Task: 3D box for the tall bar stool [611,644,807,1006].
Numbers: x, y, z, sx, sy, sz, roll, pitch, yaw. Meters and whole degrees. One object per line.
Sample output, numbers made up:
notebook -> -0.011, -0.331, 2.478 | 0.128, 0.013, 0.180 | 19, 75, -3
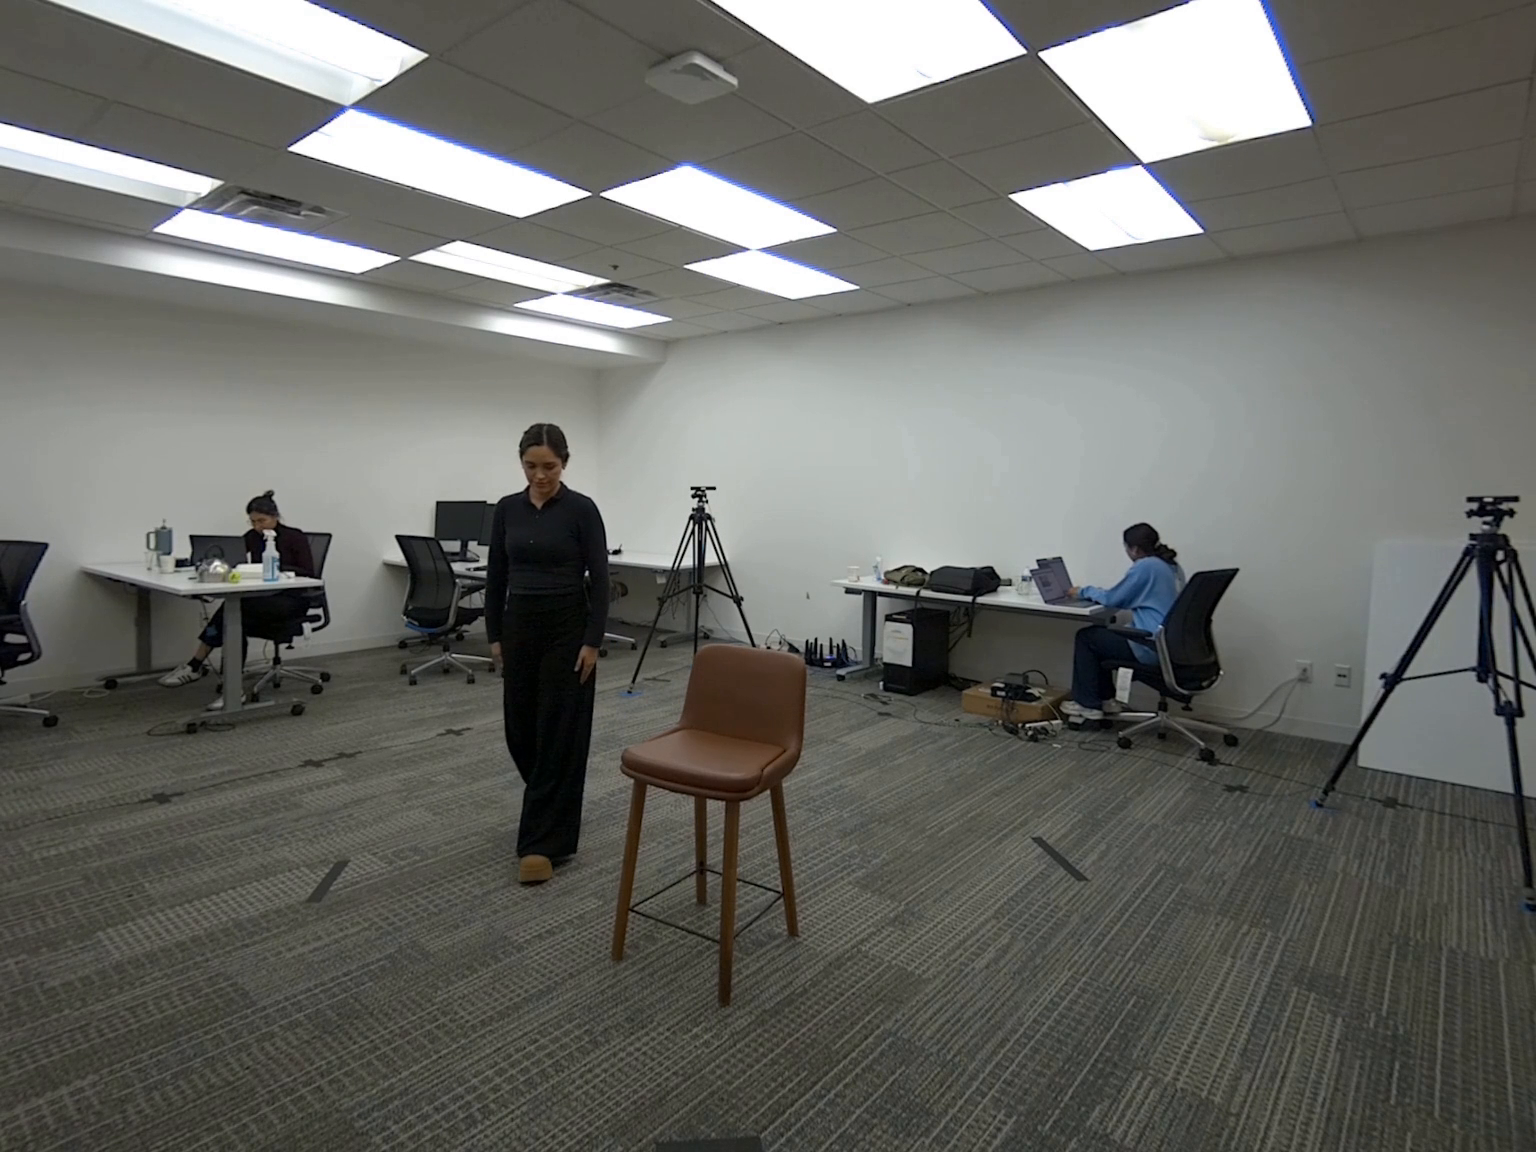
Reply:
tall bar stool -> -0.172, 0.686, 2.550 | 0.470, 0.888, 0.454 | 3, 3, 32
